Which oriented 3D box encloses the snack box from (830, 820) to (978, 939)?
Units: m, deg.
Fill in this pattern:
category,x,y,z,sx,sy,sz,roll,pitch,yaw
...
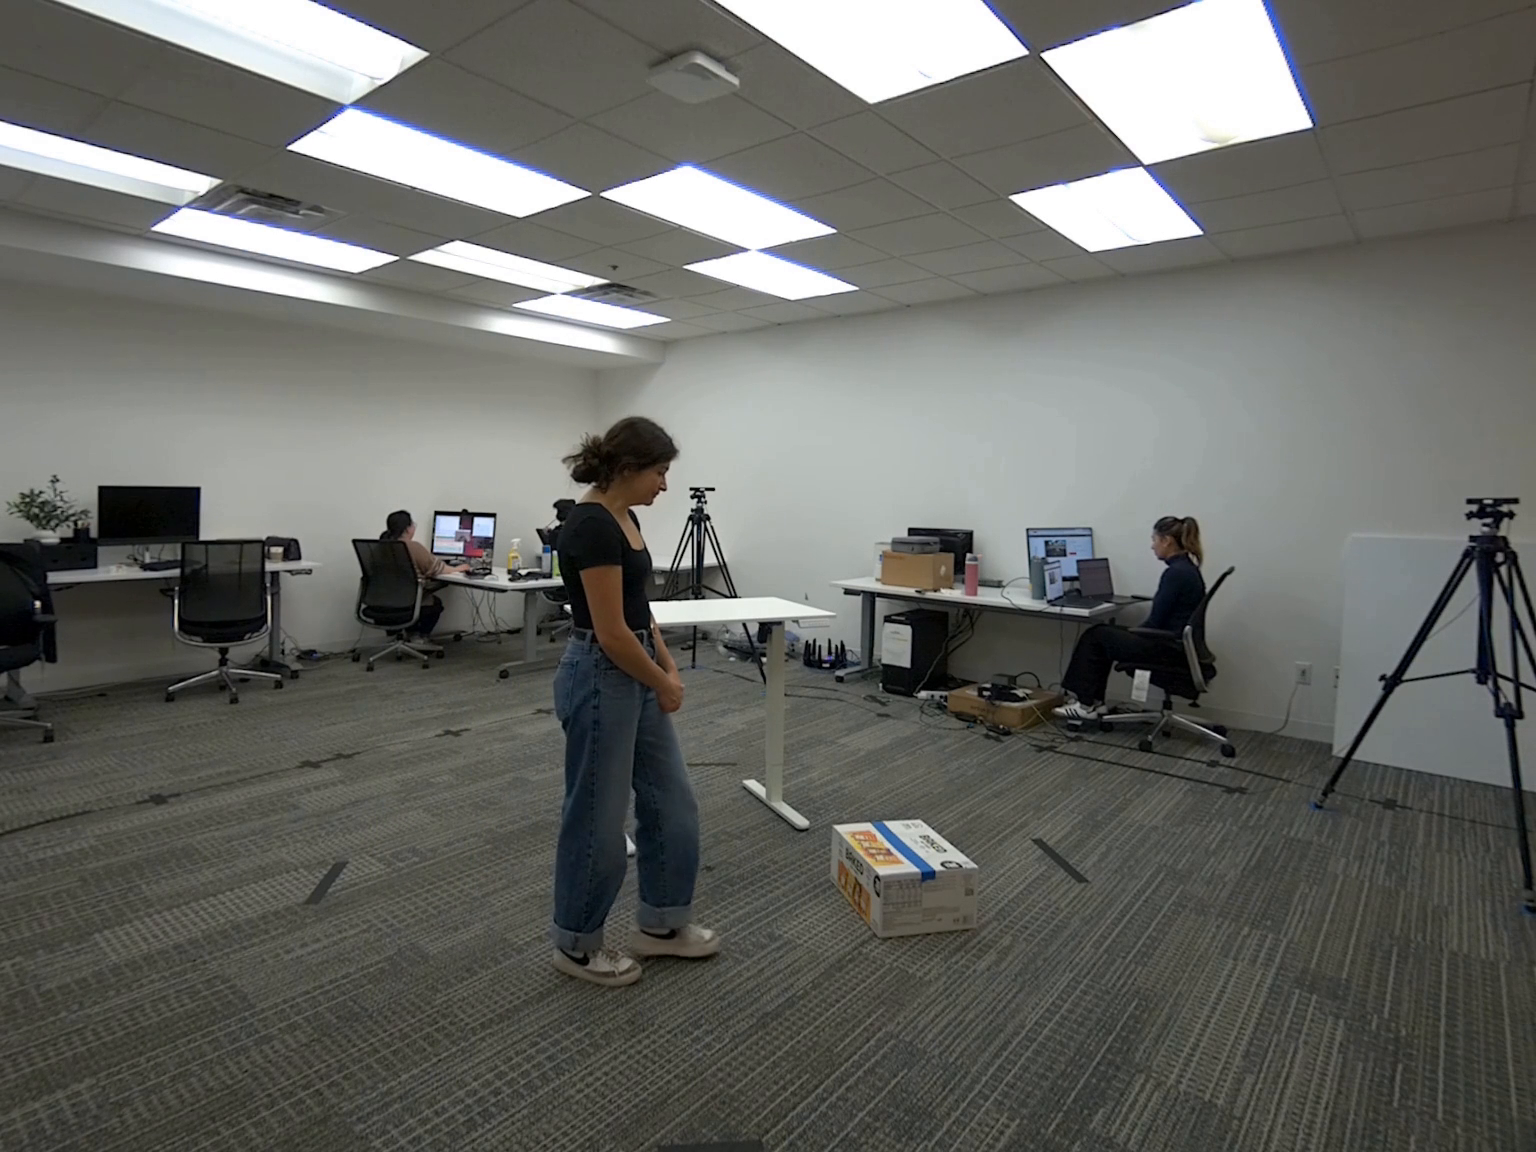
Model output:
category,x,y,z,sx,sy,sz,roll,pitch,yaw
snack box,0.444,1.004,2.868,0.335,0.205,0.413,0,6,-16
